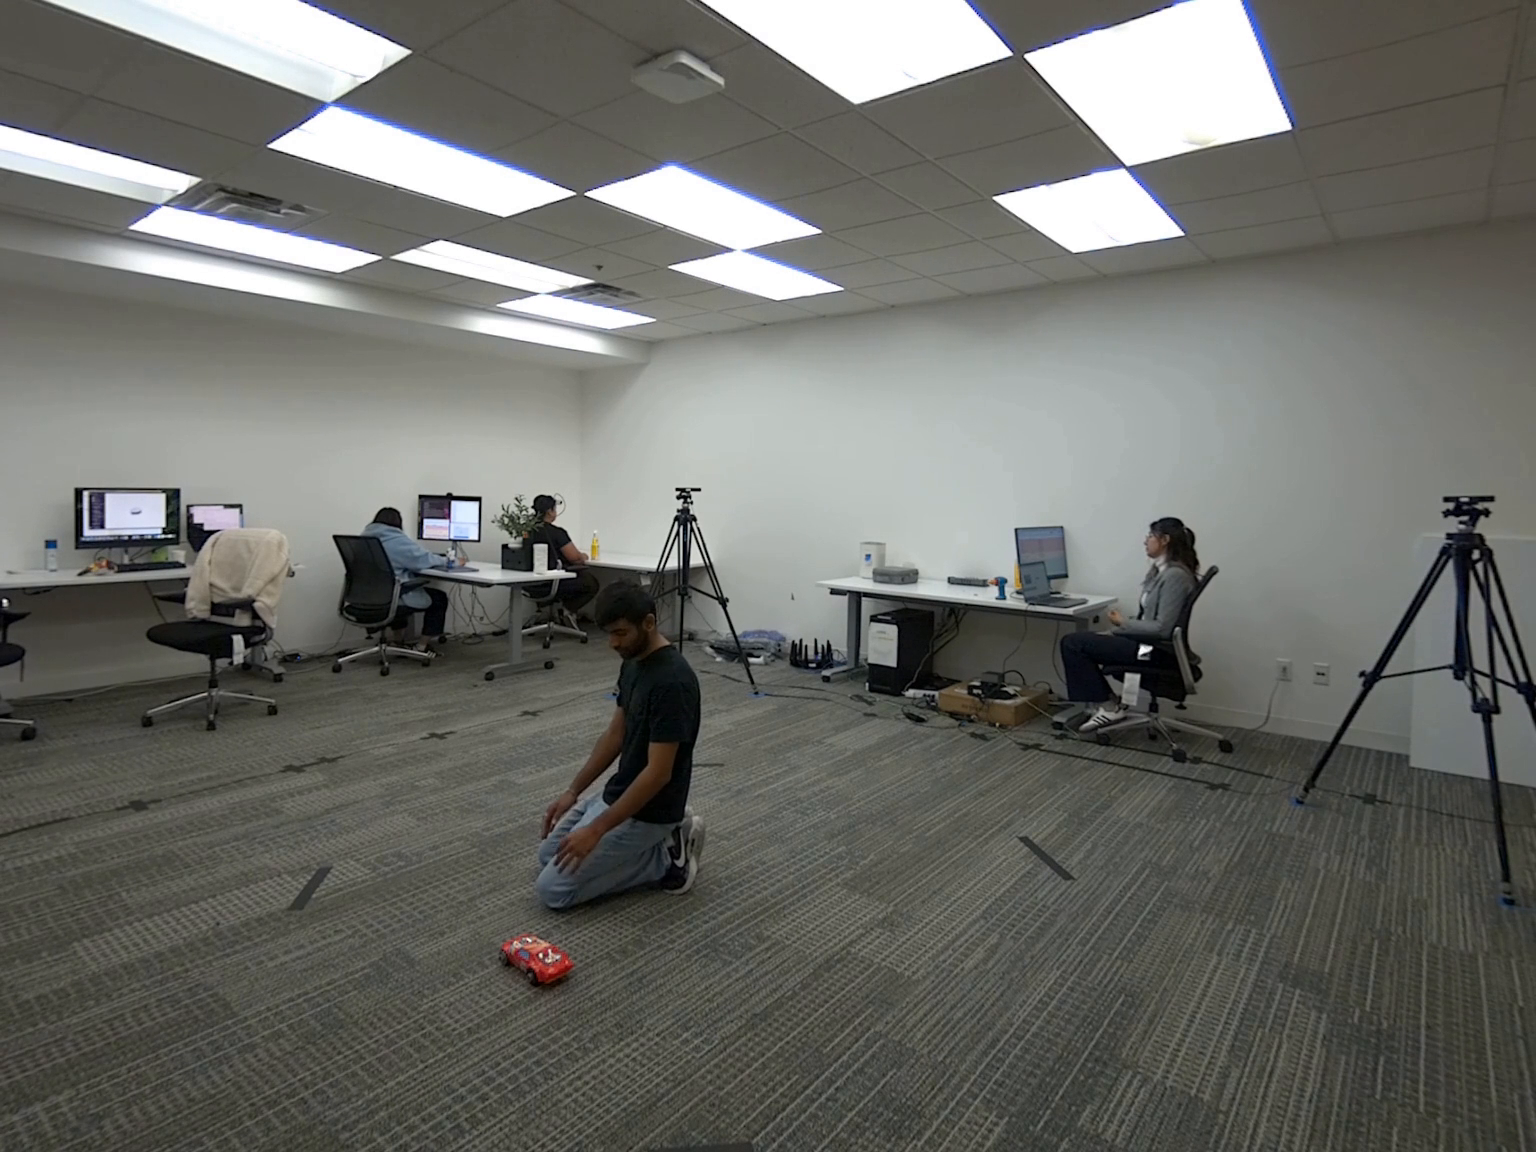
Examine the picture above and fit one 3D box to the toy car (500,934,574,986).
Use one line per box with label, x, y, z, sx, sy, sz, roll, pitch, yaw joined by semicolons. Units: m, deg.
toy car;-0.669;1.093;2.431;0.261;0.083;0.126;-8;-2;43
